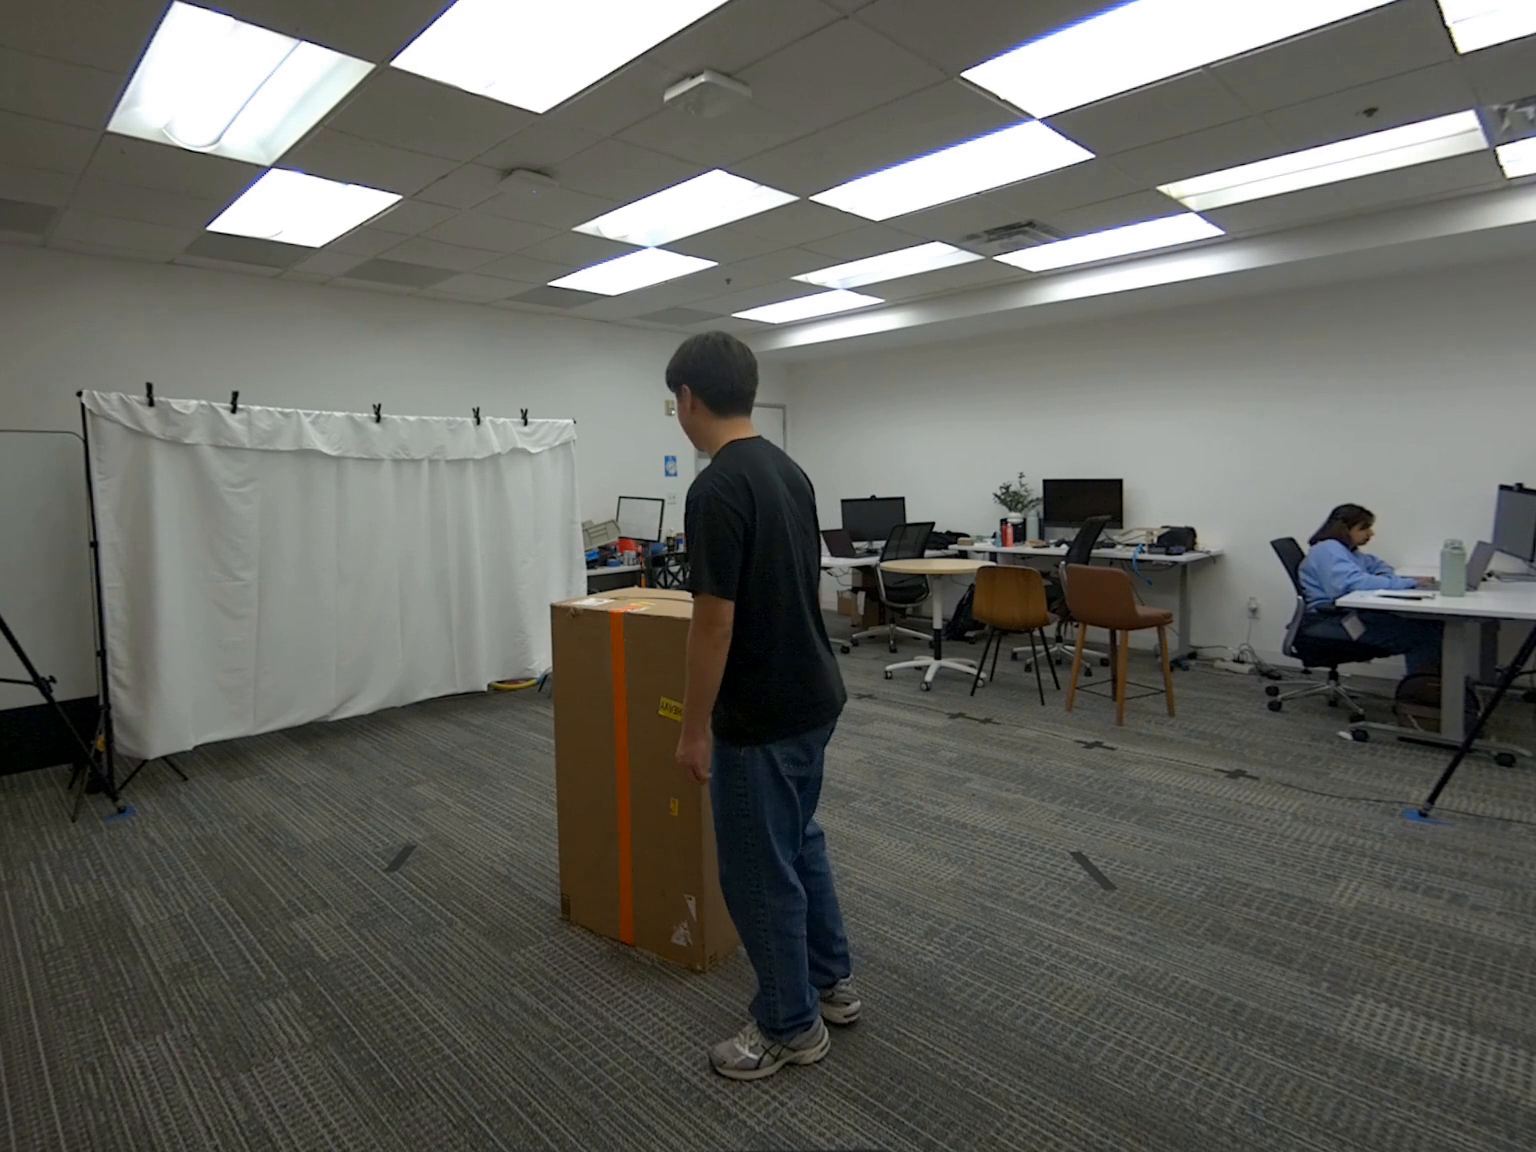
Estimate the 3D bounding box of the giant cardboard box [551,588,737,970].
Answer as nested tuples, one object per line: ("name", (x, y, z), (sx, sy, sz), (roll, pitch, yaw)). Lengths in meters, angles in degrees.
("giant cardboard box", (-0.324, 0.580, 2.713), (0.600, 1.022, 0.436), (2, 6, 35))
